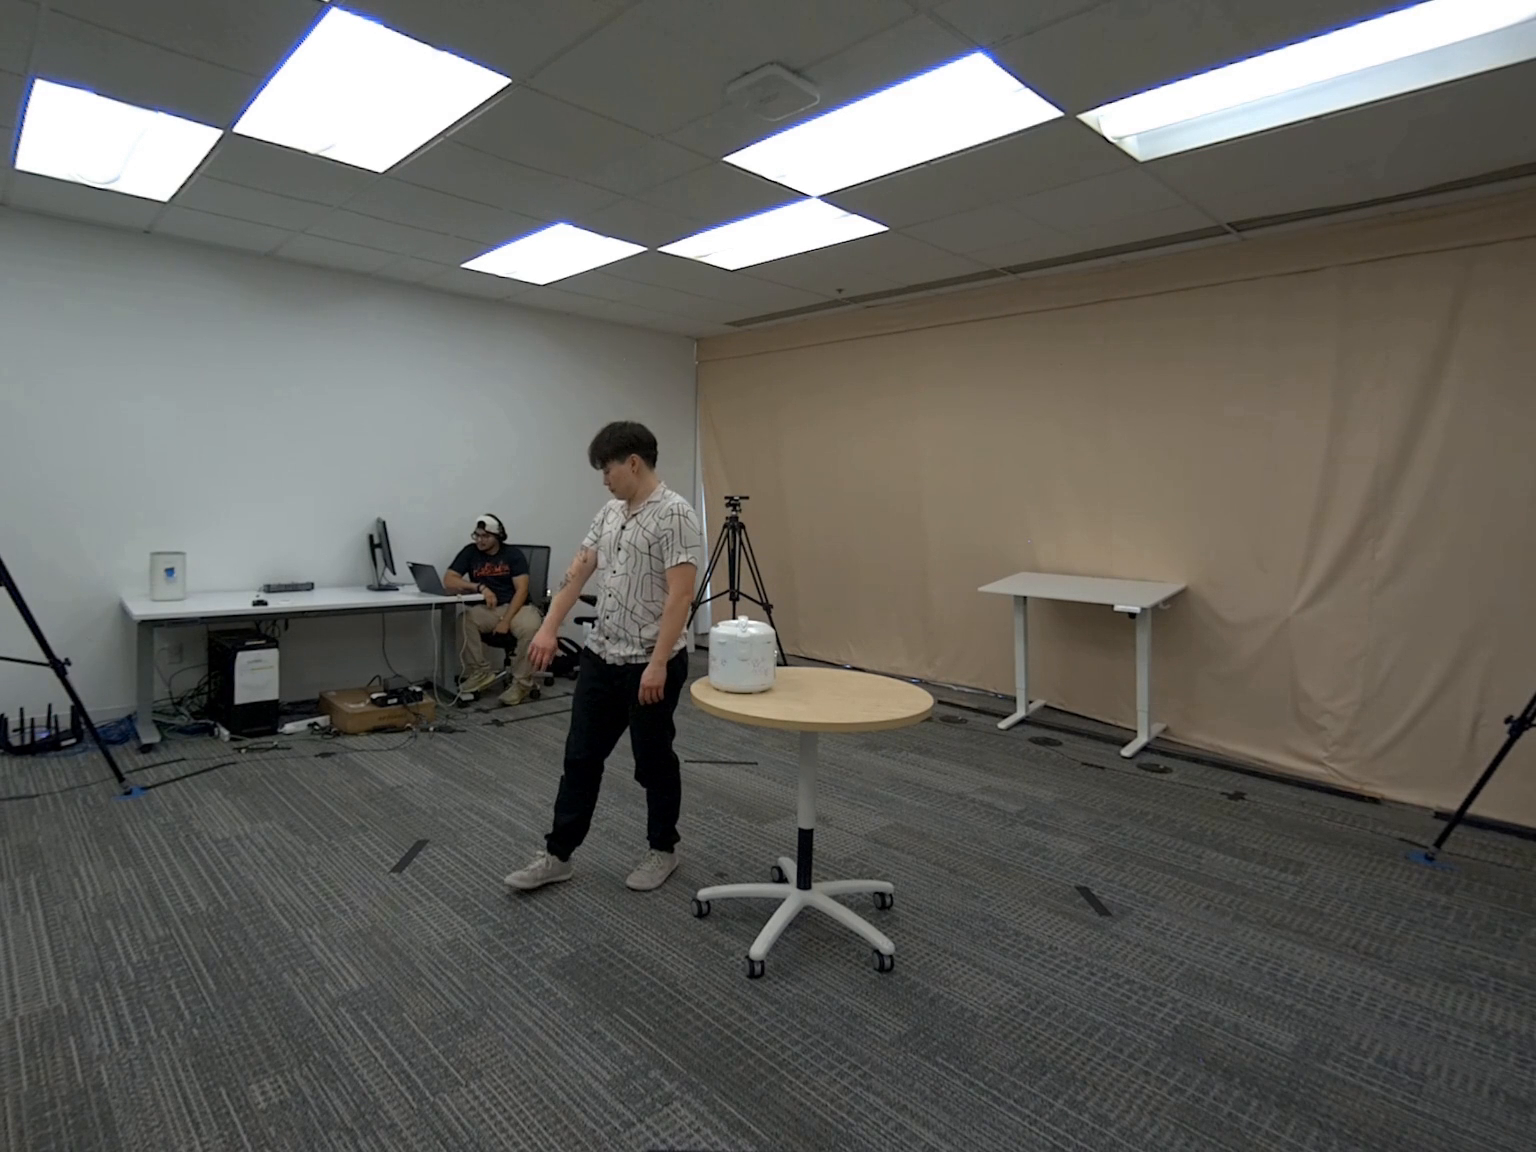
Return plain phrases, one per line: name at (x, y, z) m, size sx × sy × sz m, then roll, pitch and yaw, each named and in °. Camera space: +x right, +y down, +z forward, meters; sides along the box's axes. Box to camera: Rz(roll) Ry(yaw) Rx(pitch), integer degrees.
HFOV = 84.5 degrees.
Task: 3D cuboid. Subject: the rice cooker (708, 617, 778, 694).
rice cooker at (-0.084, 0.243, 2.687) m, size 0.217 × 0.232 × 0.221 m, roll 1°, pitch 3°, yaw -1°
